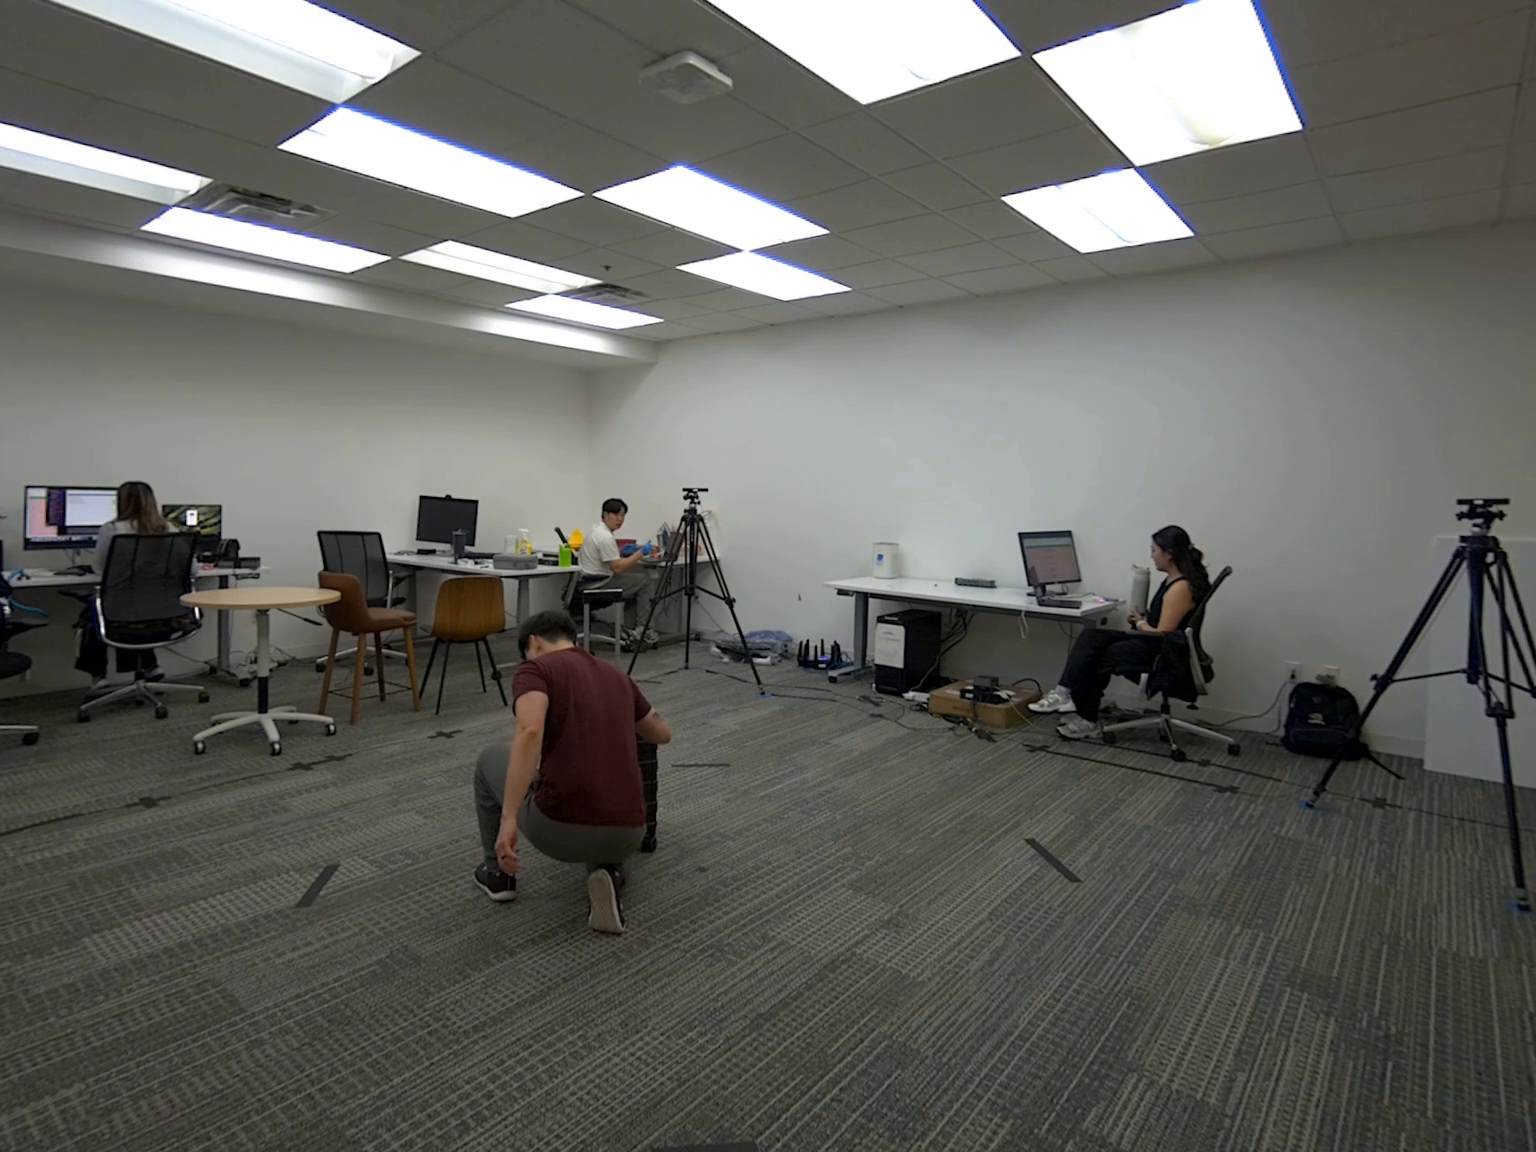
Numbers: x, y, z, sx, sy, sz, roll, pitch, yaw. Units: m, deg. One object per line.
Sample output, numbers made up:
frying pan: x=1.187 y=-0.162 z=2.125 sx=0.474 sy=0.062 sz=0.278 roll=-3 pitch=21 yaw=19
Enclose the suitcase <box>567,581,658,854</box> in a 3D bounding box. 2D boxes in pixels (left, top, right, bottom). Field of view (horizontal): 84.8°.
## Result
suitcase: x=-0.624 y=0.564 z=3.296 sx=0.376 sy=0.975 sz=0.263 roll=-1 pitch=4 yaw=-20
